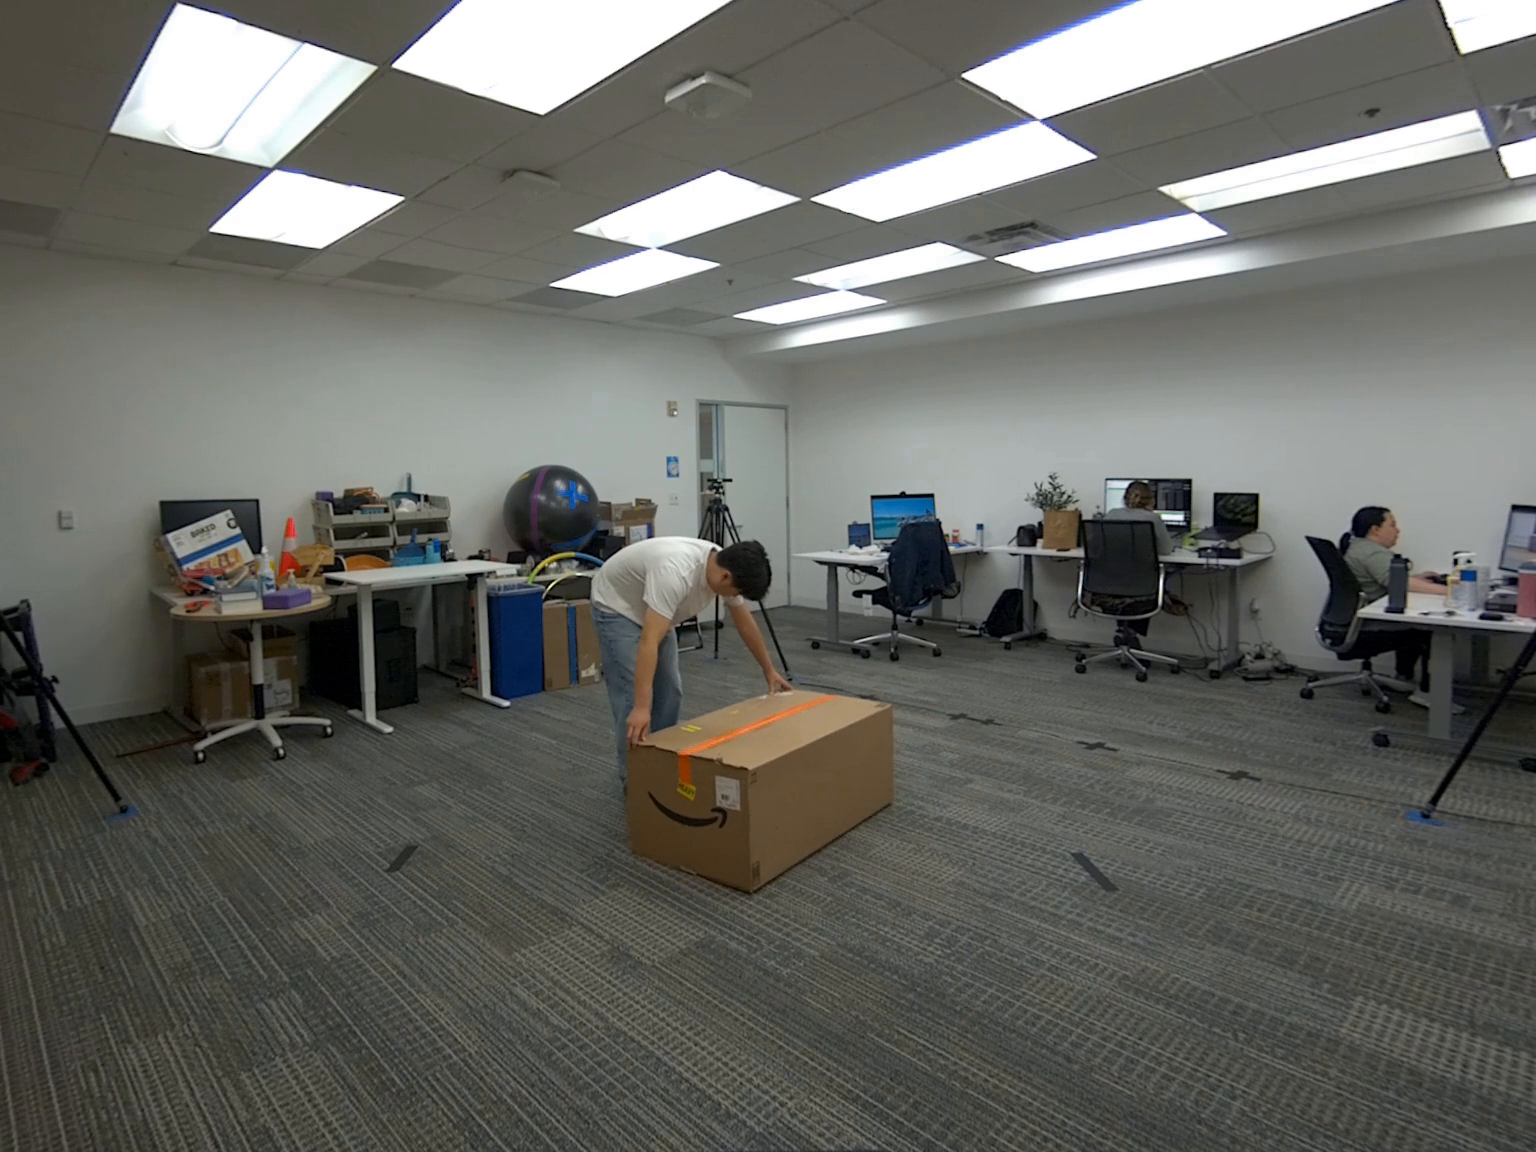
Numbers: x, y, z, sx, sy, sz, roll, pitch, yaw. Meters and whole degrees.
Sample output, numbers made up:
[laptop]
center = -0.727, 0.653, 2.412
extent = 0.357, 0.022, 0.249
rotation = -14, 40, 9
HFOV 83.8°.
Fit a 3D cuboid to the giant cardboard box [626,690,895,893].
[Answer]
[giant cardboard box]
center = 0.010, 0.791, 3.408
extent = 0.594, 0.425, 1.000
rotation = 1, 6, 37
